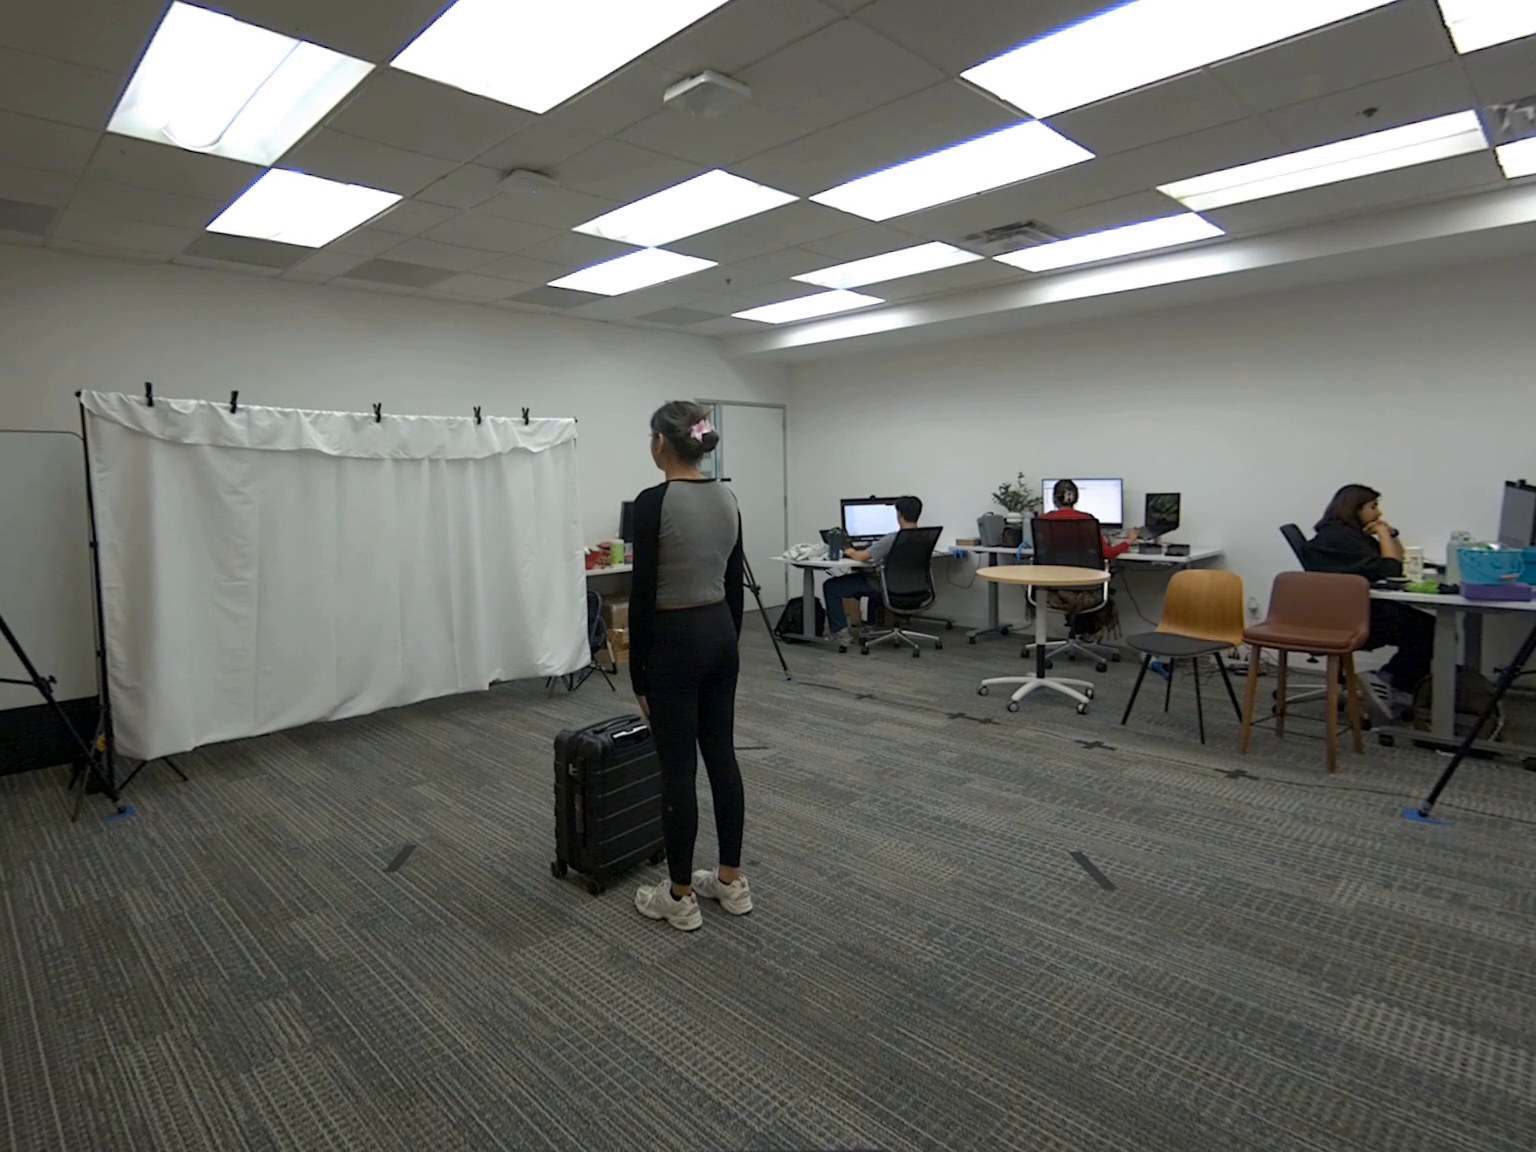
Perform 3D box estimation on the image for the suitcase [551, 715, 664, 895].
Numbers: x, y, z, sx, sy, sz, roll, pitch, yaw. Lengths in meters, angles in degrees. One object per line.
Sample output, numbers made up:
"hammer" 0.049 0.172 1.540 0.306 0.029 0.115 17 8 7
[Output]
"suitcase" -0.566 0.782 3.049 0.256 0.547 0.366 4 7 39
